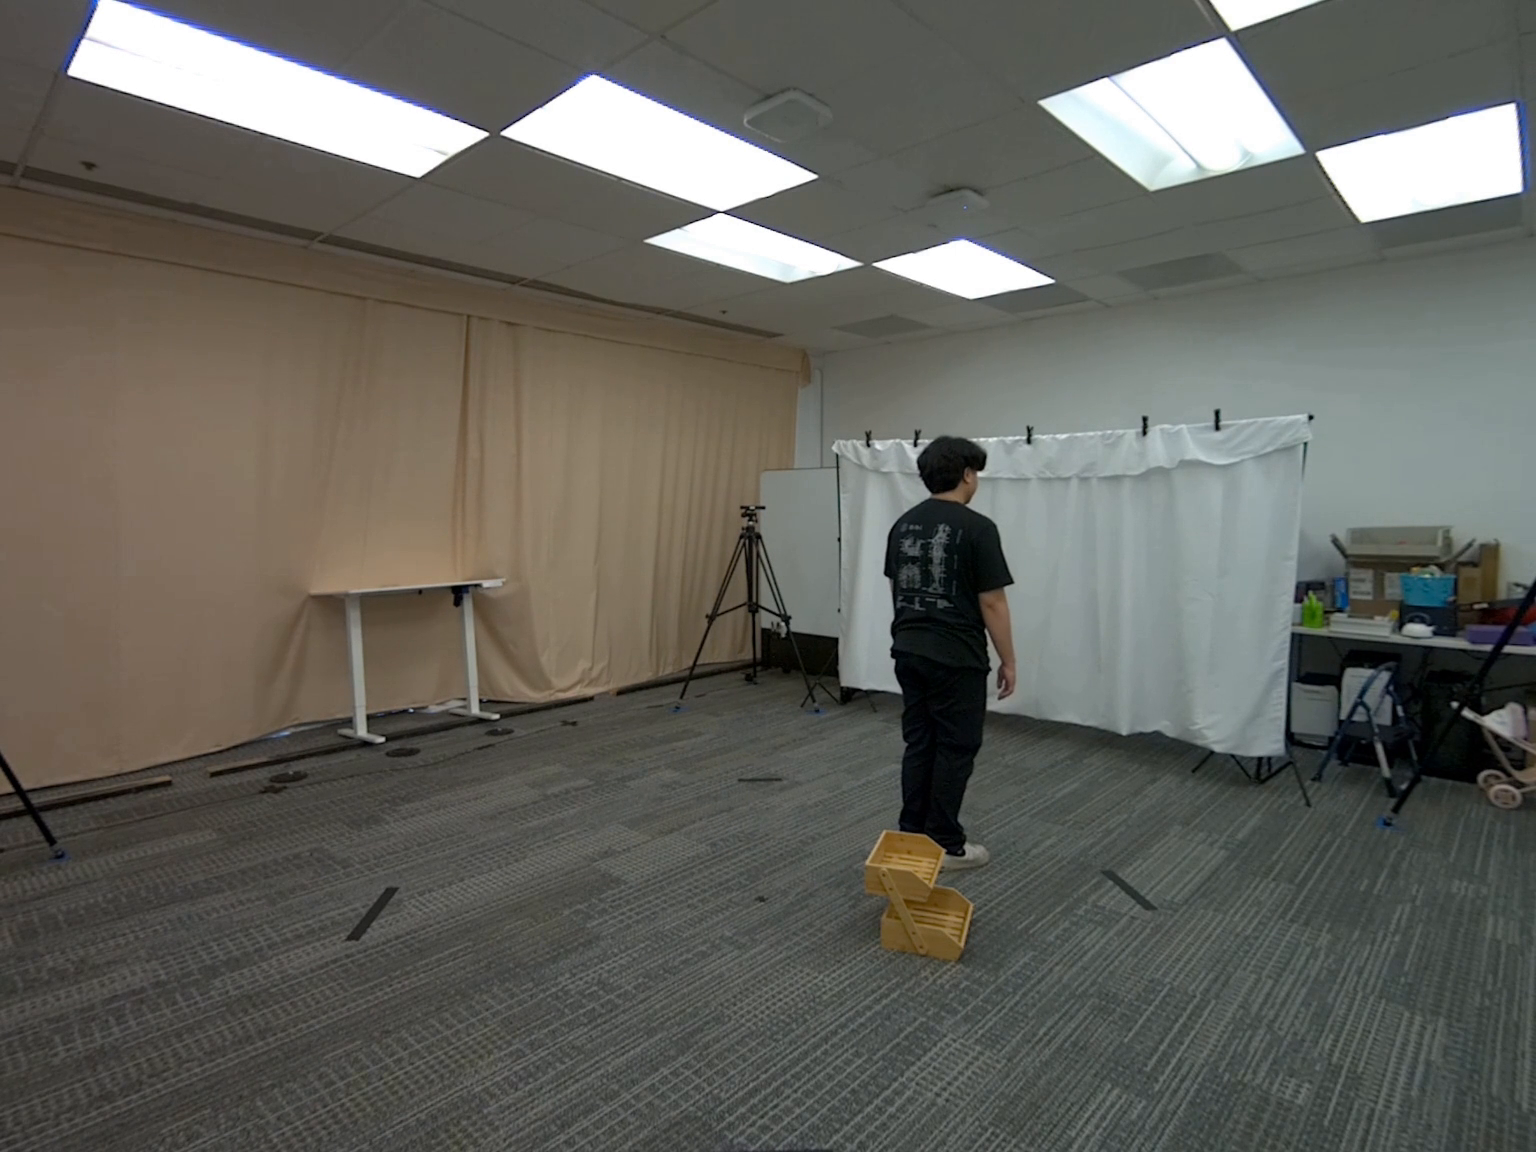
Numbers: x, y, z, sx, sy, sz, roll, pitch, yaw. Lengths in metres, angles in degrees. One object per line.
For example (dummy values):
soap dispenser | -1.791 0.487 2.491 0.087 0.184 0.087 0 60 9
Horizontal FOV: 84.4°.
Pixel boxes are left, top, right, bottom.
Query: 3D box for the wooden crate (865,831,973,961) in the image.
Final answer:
wooden crate | 0.510 1.031 2.744 0.309 0.273 0.318 1 4 21
